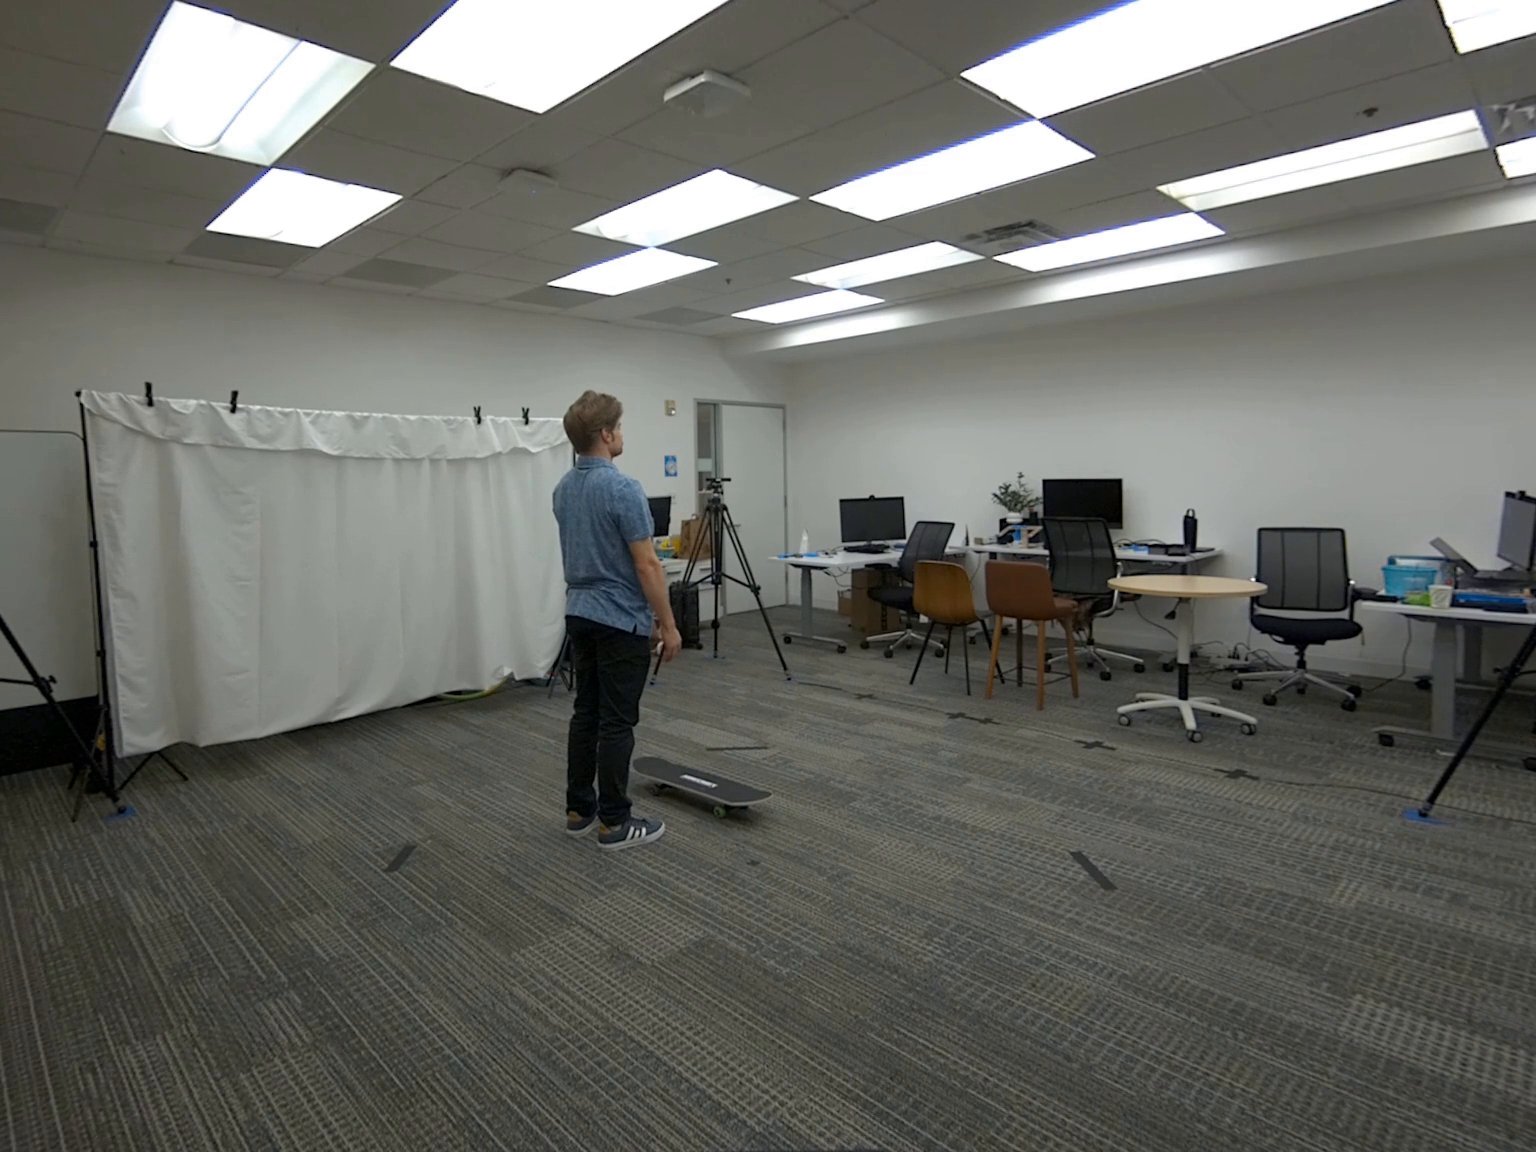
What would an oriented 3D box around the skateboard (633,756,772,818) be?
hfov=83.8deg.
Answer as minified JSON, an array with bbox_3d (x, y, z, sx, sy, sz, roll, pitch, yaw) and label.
[{"bbox_3d":[-0.299,0.923,3.708,0.809,0.110,0.188,4,8,42],"label":"skateboard"}]
